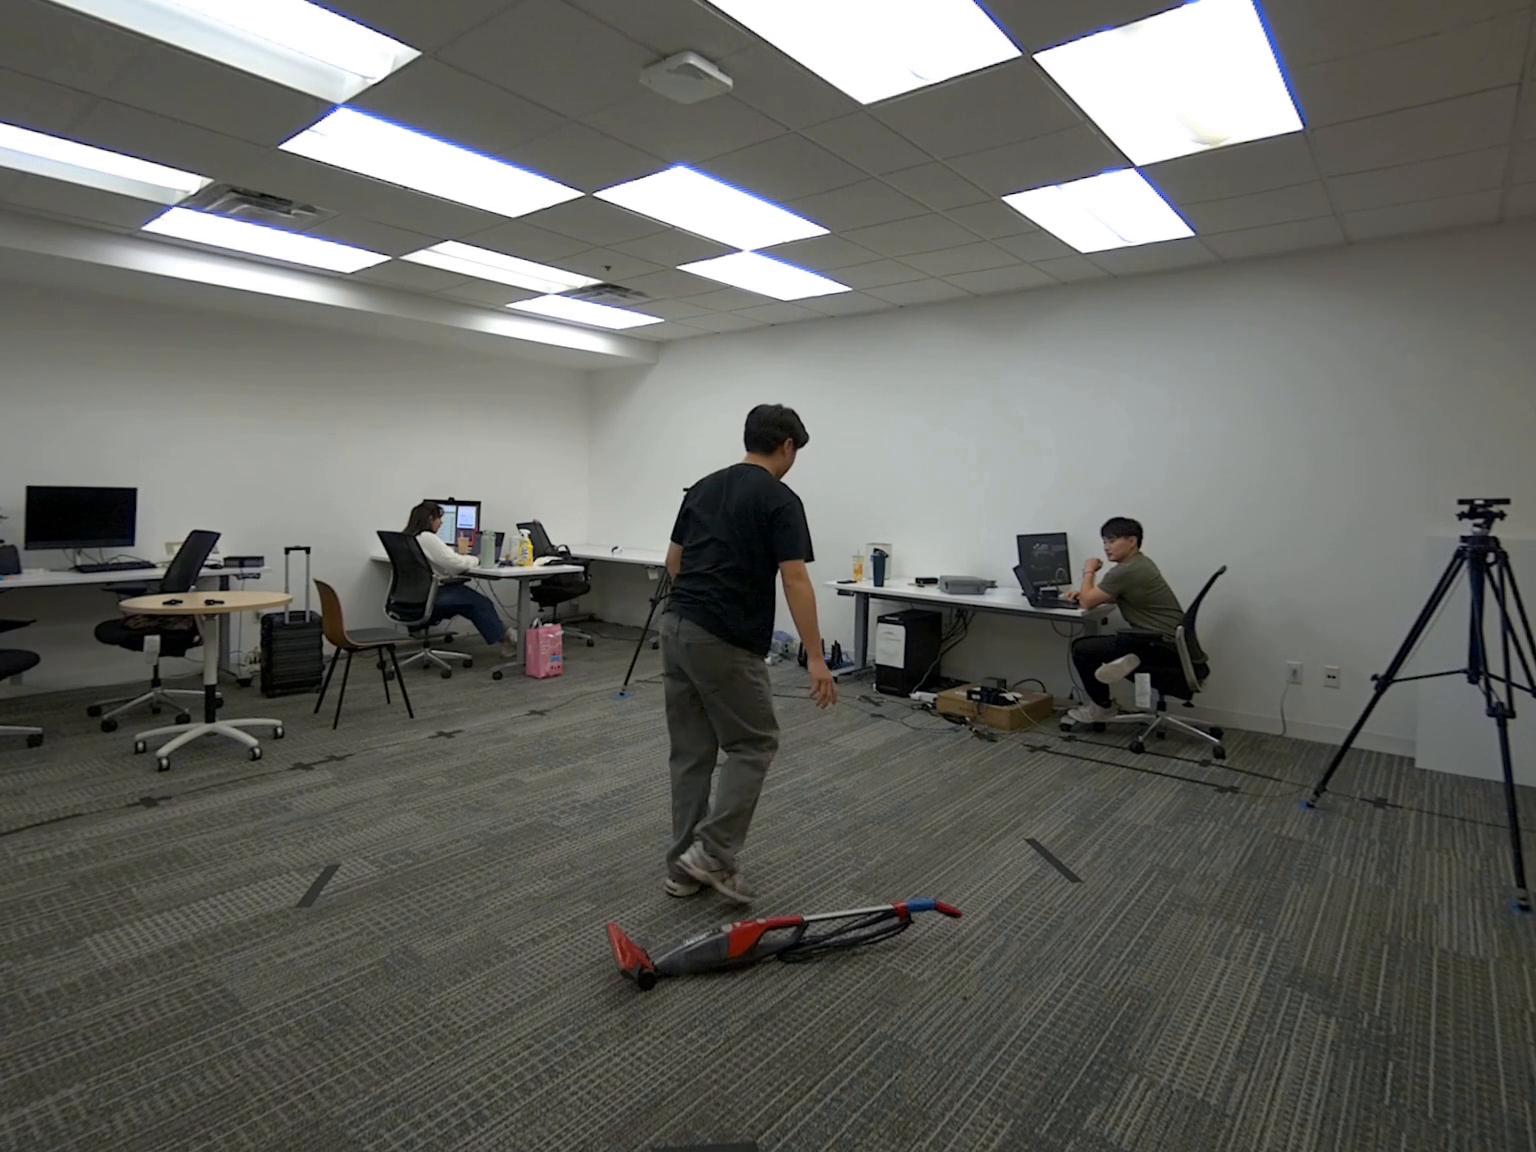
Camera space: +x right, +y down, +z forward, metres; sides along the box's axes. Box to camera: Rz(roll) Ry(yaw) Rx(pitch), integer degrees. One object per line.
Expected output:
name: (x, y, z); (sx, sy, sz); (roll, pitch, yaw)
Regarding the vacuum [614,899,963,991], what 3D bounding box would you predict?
vacuum: (0.101, 1.067, 2.545); (1.032, 0.143, 0.258); (0, 6, -16)
